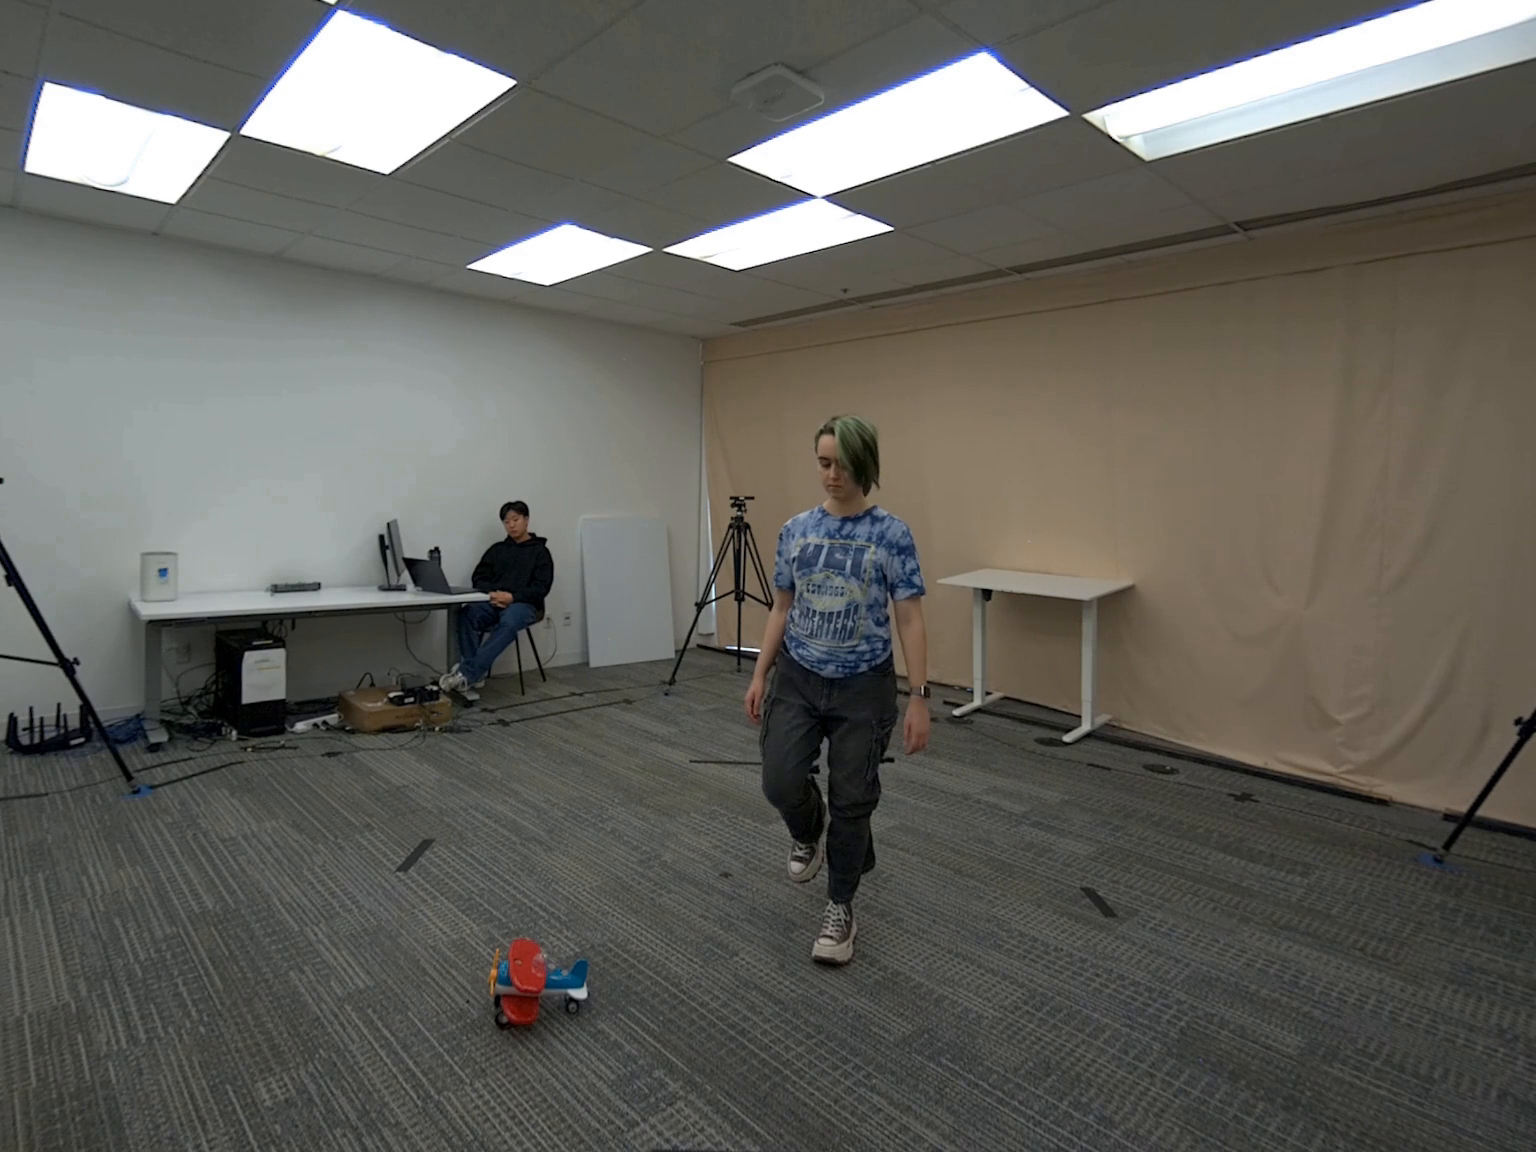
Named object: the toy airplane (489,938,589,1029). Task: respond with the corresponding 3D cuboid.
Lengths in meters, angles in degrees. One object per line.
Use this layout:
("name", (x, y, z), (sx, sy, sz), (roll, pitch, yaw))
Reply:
("toy airplane", (-0.631, 1.102, 2.257), (0.253, 0.156, 0.257), (-5, 7, -44))
